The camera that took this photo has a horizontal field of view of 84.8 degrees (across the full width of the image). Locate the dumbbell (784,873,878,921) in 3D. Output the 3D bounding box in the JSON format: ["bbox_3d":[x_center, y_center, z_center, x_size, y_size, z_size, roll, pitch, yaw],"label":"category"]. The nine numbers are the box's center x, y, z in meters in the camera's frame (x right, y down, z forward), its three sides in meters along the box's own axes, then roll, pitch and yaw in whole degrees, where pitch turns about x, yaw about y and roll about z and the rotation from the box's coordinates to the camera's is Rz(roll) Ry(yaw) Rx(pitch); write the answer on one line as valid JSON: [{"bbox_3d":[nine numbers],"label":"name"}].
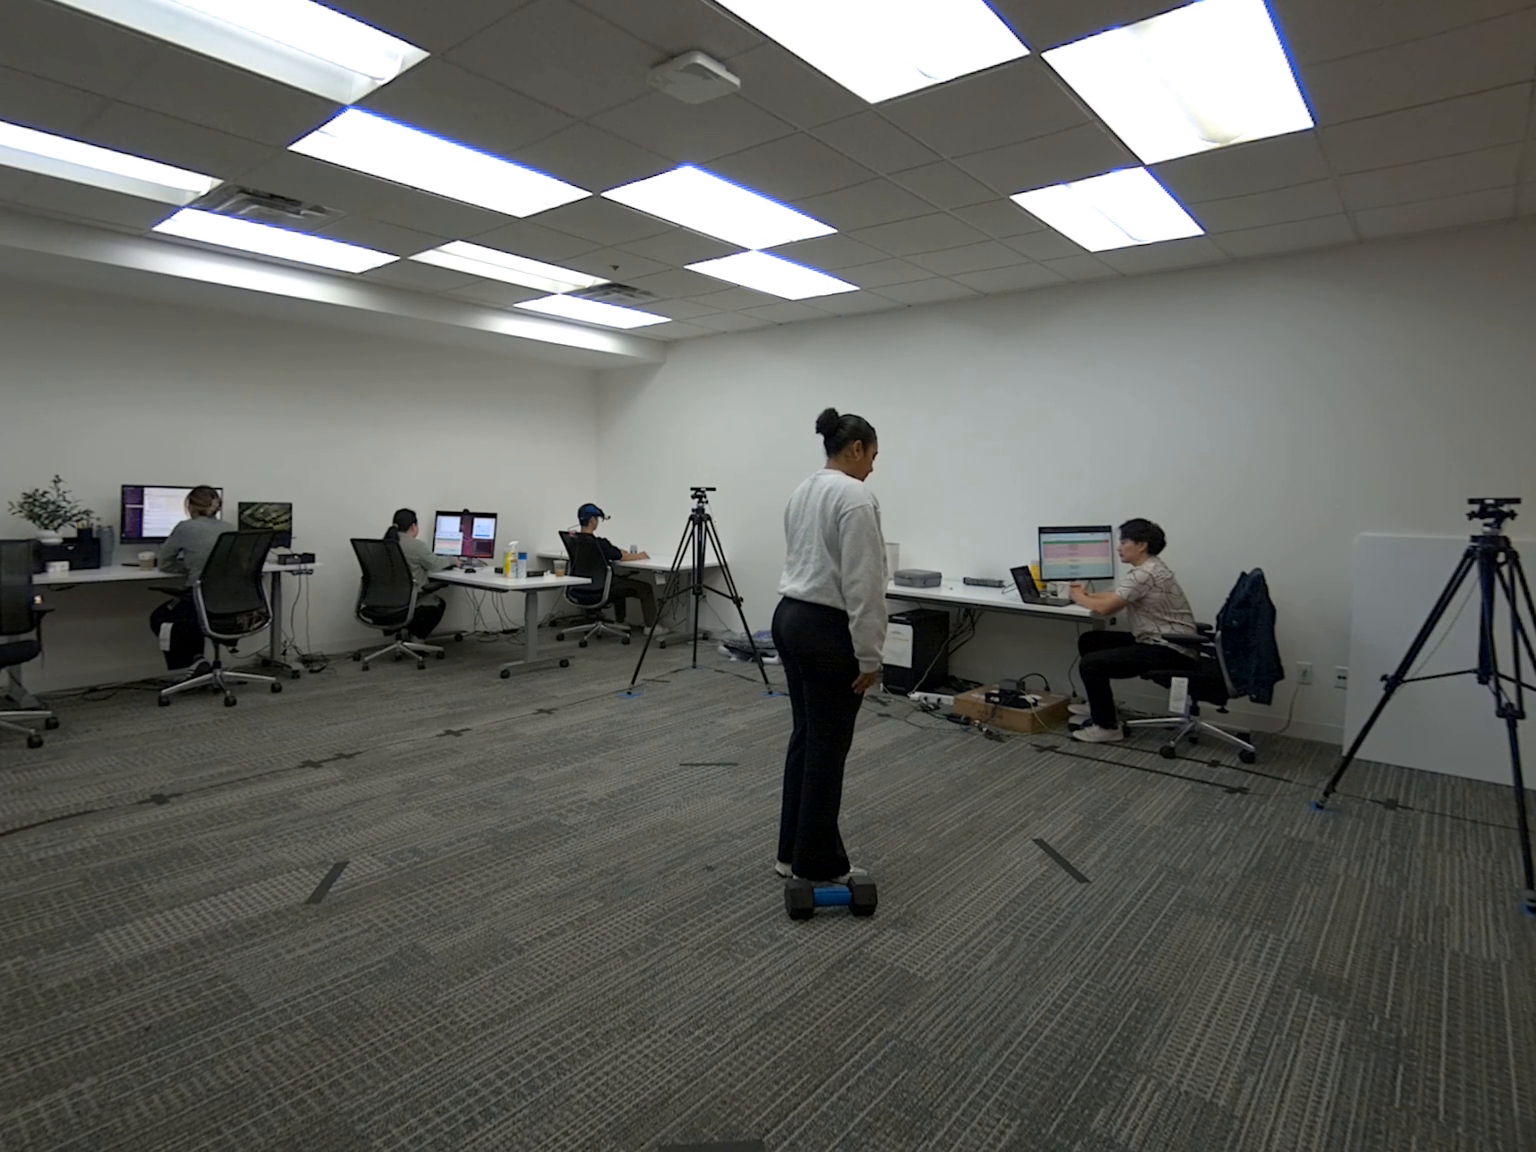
[{"bbox_3d":[0.200,1.050,2.801,0.290,0.126,0.107,0,-28,-11],"label":"dumbbell"}]
